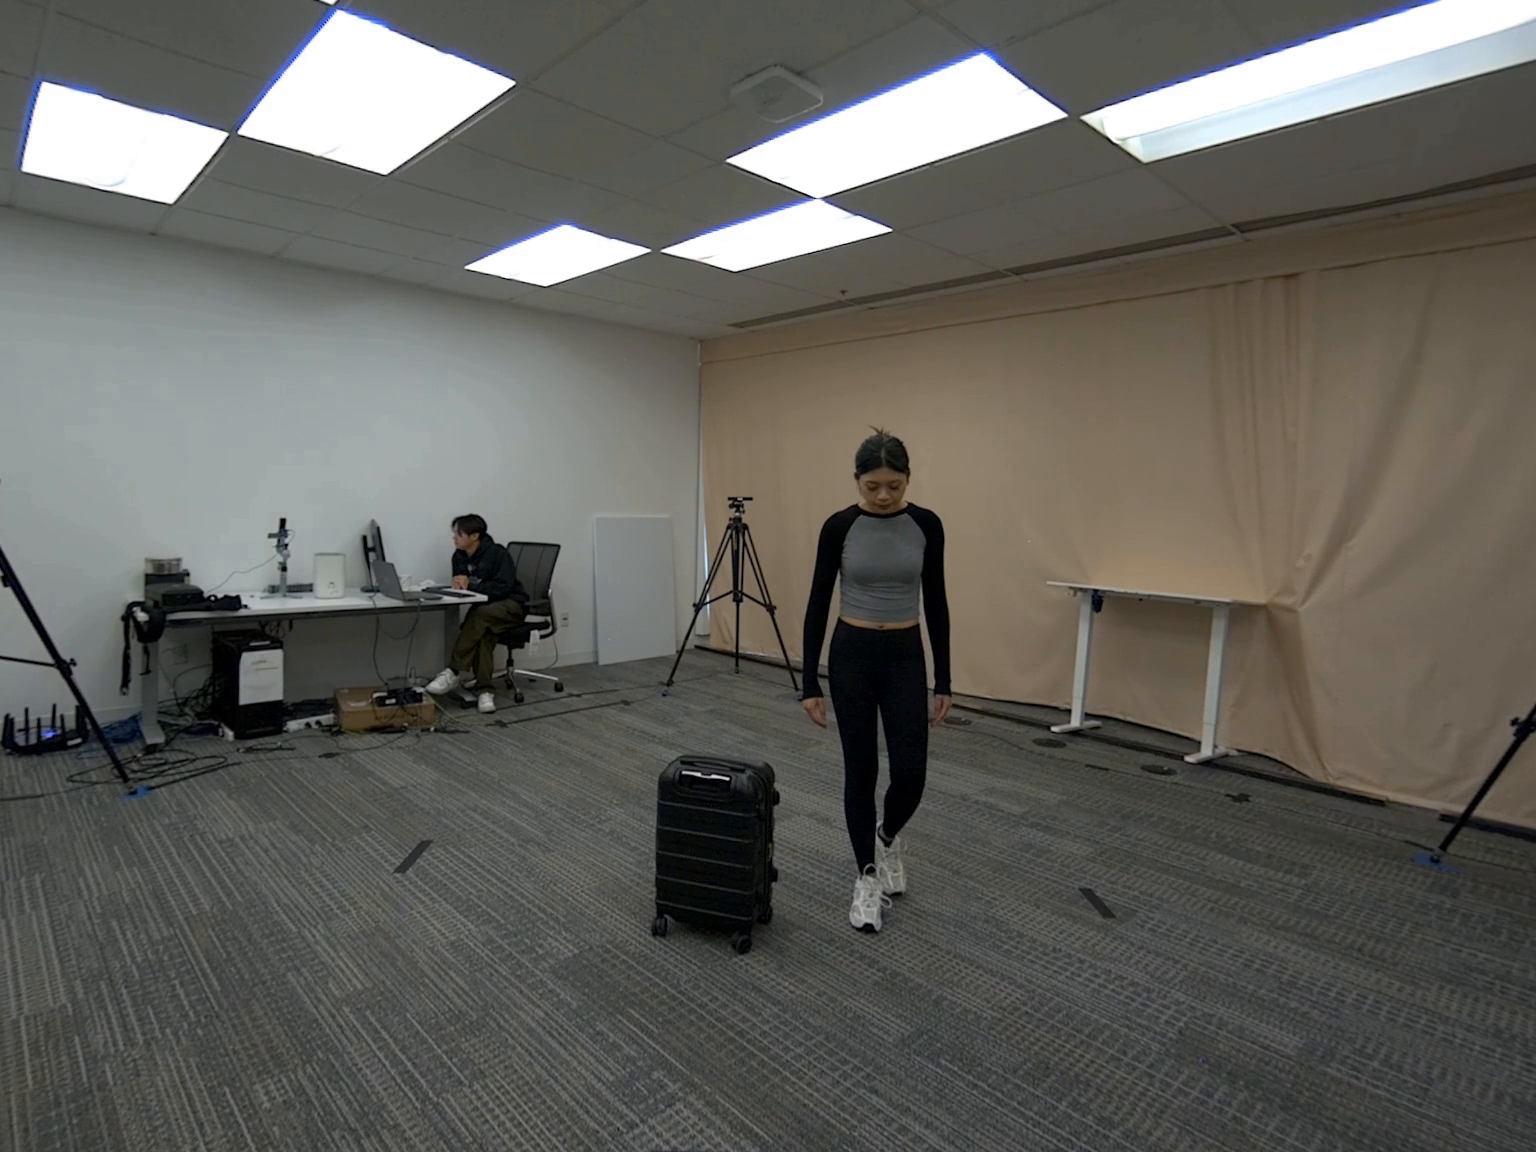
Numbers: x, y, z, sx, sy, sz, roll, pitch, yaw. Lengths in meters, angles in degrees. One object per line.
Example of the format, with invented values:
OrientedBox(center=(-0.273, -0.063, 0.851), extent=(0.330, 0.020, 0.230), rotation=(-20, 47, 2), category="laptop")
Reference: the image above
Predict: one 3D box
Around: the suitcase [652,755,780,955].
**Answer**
OrientedBox(center=(-0.175, 0.866, 2.727), extent=(0.381, 0.549, 0.245), rotation=(1, 2, 19), category="suitcase")
